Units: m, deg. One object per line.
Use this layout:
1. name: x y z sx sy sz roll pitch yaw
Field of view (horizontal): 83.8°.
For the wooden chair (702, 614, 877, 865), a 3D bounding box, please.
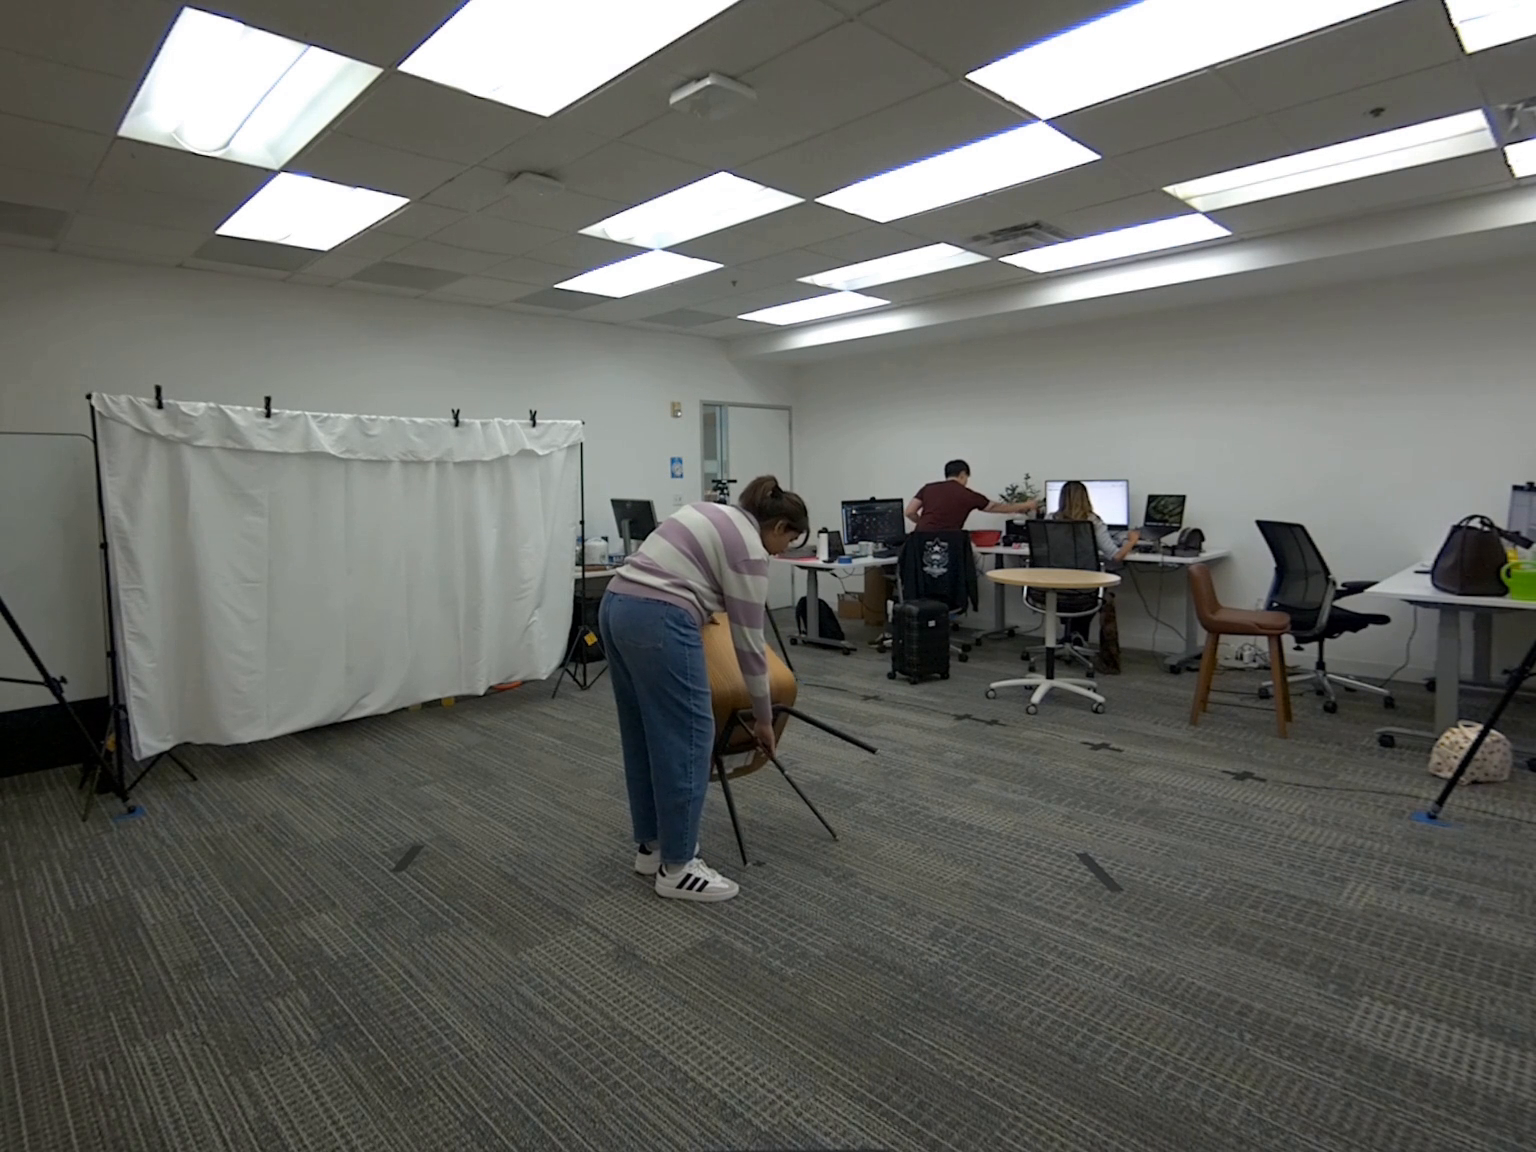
1. wooden chair: -0.065 0.618 3.385 0.465 0.517 0.912 -3 36 -38
